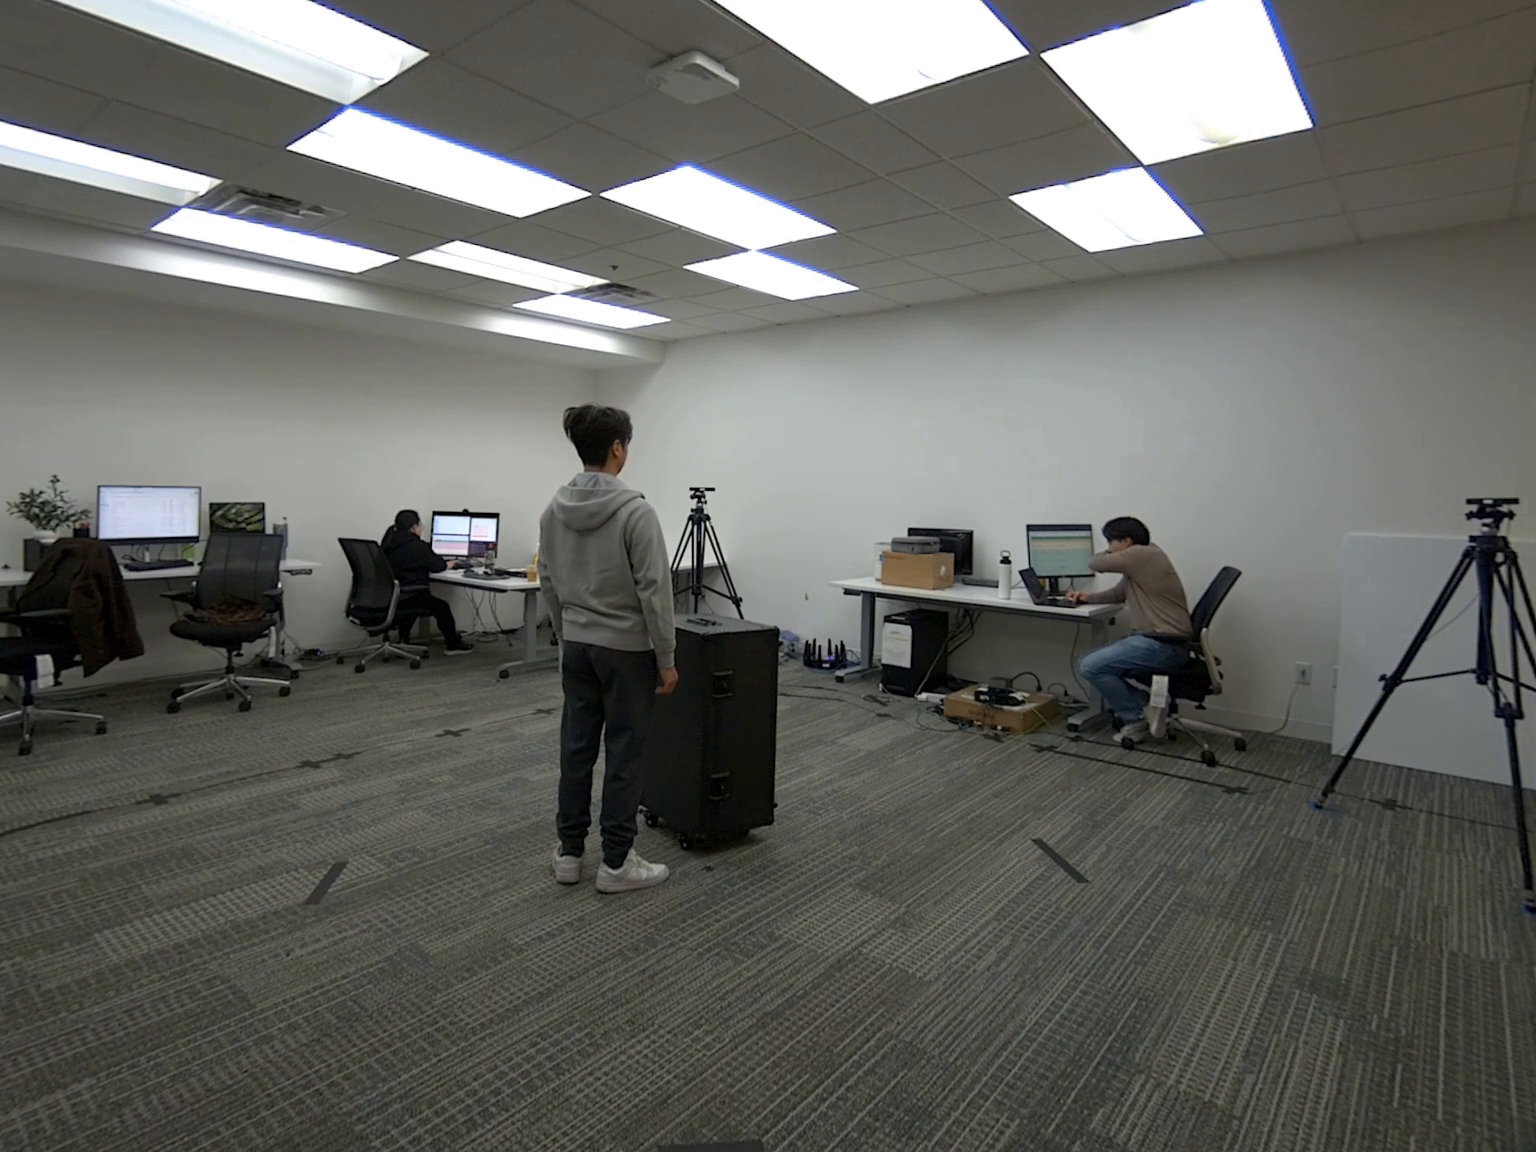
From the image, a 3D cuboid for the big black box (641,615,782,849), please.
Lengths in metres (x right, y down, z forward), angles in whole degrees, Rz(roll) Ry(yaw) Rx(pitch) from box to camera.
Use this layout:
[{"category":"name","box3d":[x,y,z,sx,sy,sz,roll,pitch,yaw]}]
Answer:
[{"category":"big black box","box3d":[-0.254,0.609,3.454,0.384,0.860,0.538,1,3,-36]}]
